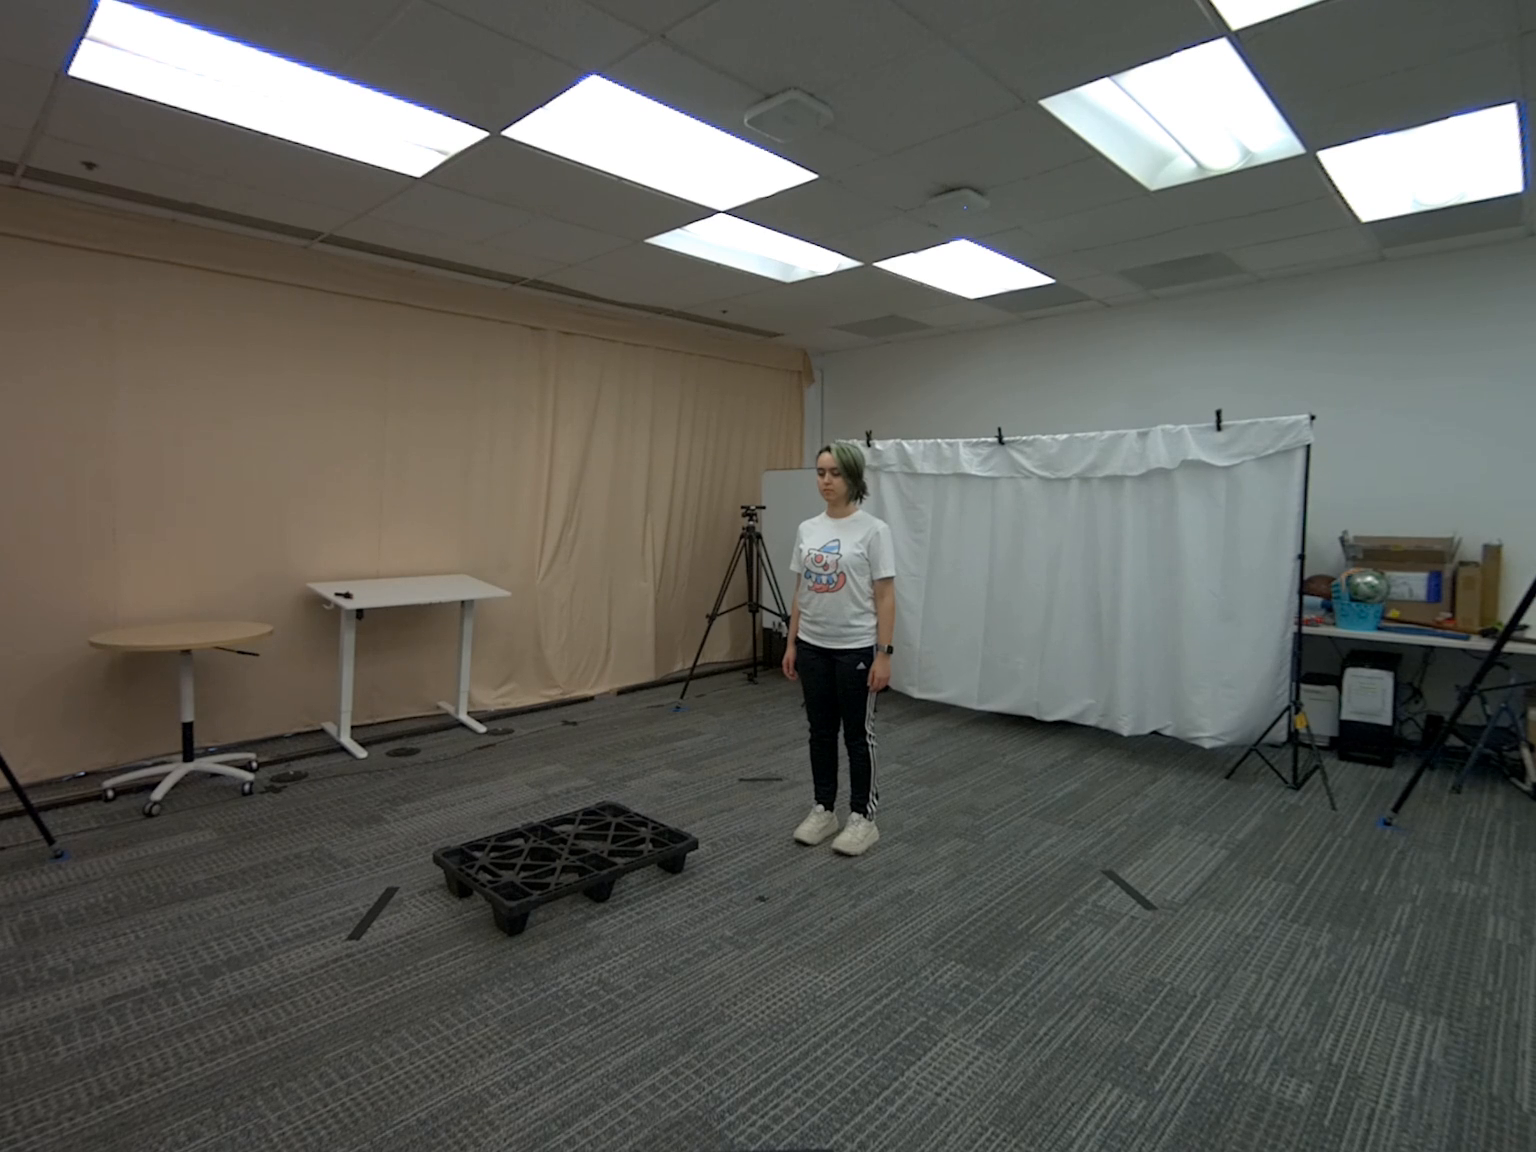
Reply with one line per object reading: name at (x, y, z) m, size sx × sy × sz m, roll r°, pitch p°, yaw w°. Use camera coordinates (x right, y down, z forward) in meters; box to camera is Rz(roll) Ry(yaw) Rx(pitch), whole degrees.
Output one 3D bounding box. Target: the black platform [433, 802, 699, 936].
black platform at (-0.742, 1.071, 3.138) m, size 0.781 × 0.143 × 0.625 m, roll -5°, pitch 7°, yaw -43°
